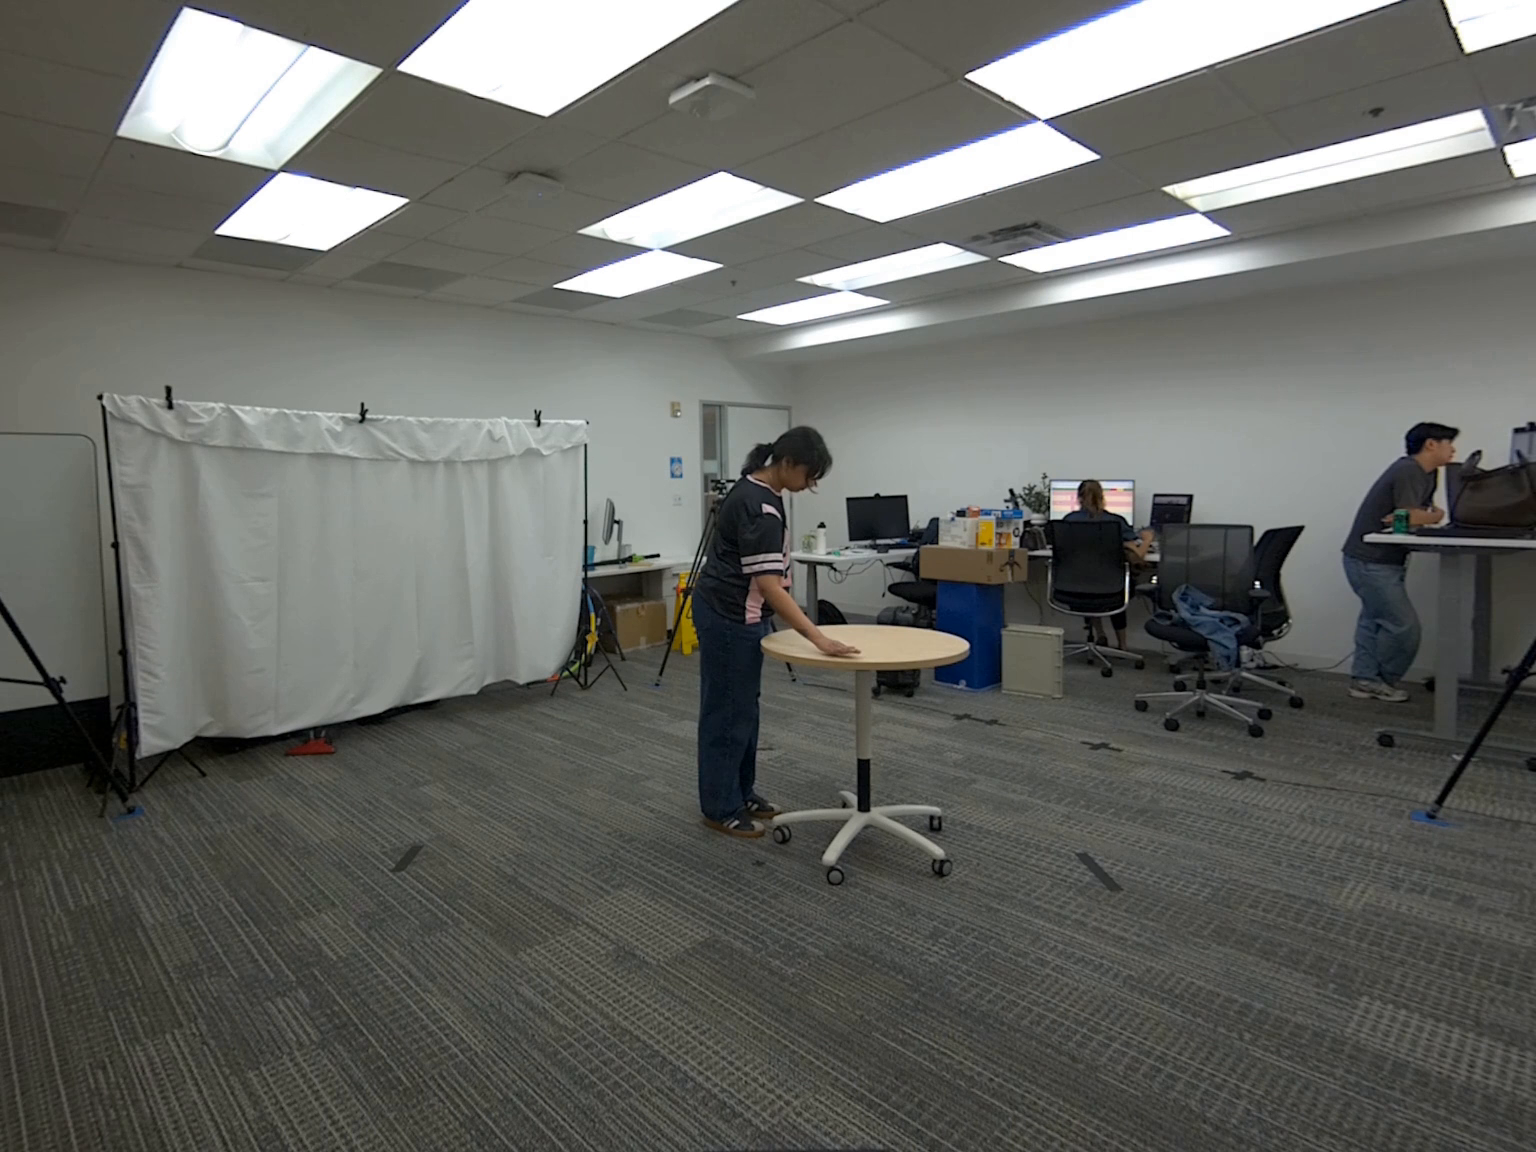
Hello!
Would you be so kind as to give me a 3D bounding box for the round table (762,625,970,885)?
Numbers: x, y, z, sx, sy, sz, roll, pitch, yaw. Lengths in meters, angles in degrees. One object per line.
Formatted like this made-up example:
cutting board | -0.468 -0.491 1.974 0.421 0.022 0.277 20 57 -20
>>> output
round table | 0.372 0.636 3.222 0.784 0.783 0.789 -1 5 -2
